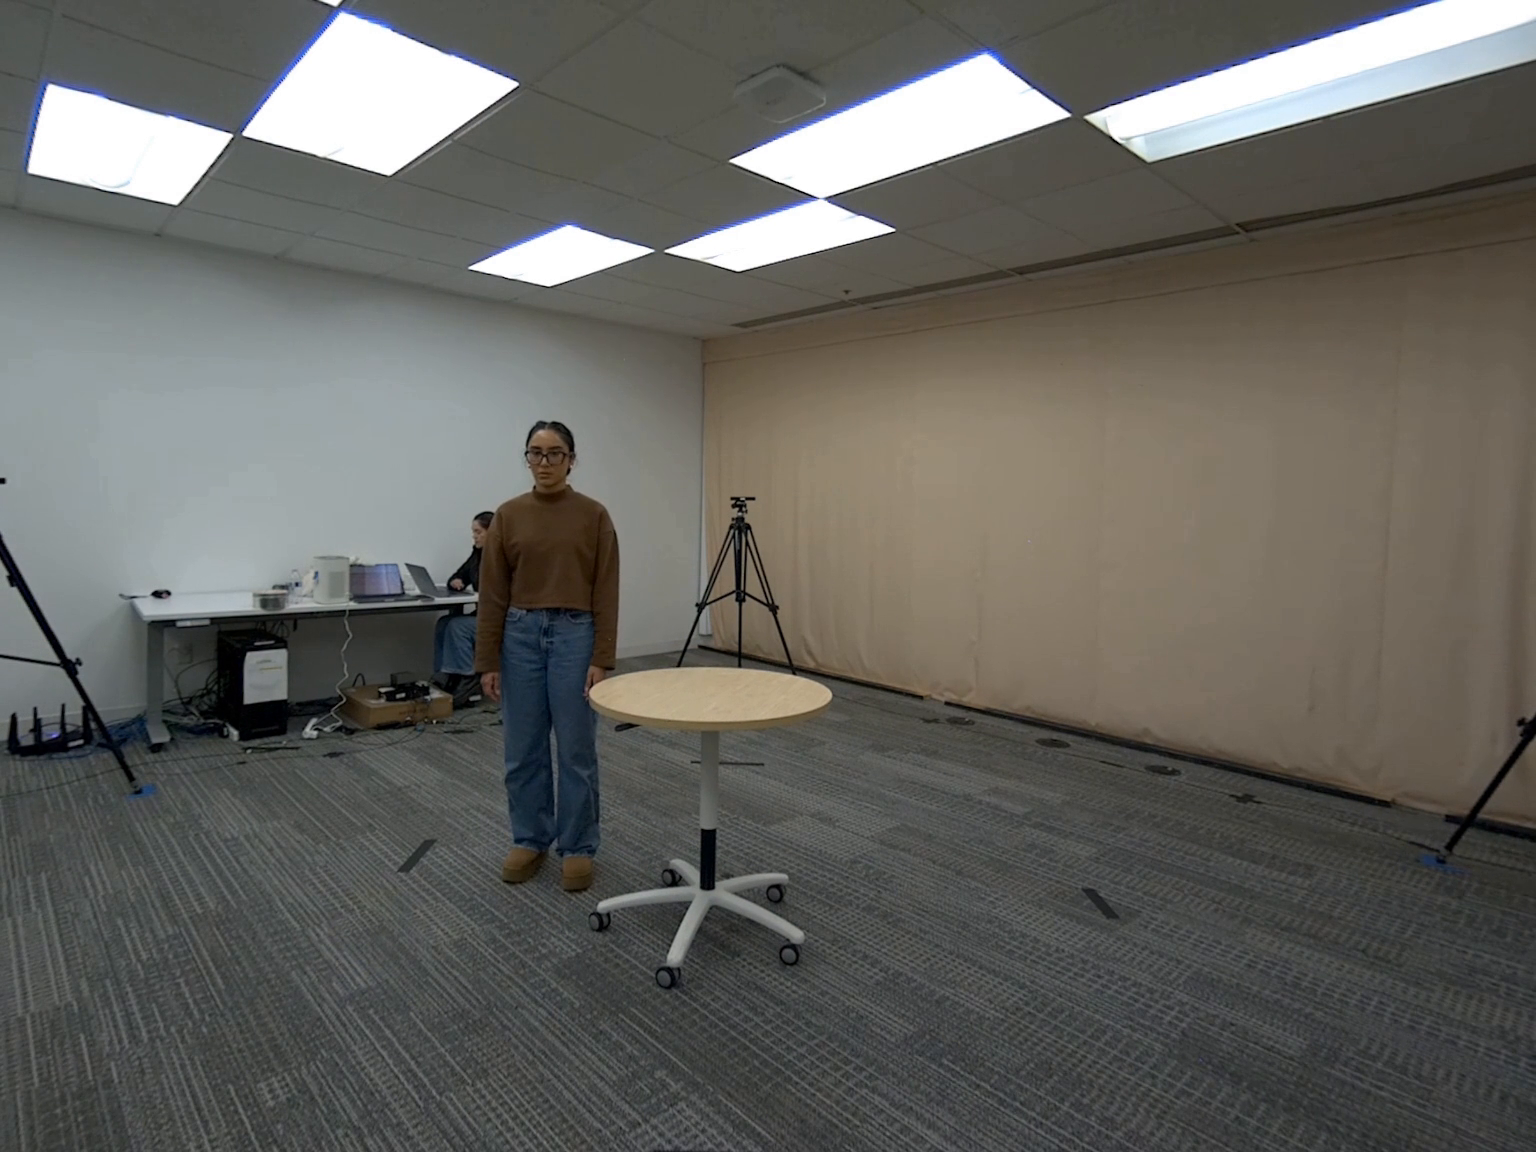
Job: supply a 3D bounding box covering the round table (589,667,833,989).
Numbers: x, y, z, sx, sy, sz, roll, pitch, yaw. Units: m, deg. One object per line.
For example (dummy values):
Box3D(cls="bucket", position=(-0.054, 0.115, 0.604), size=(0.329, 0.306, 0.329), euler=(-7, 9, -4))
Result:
Box3D(cls="round table", position=(-0.203, 0.758, 2.685), size=(0.763, 0.792, 0.767), euler=(1, 4, -1))
